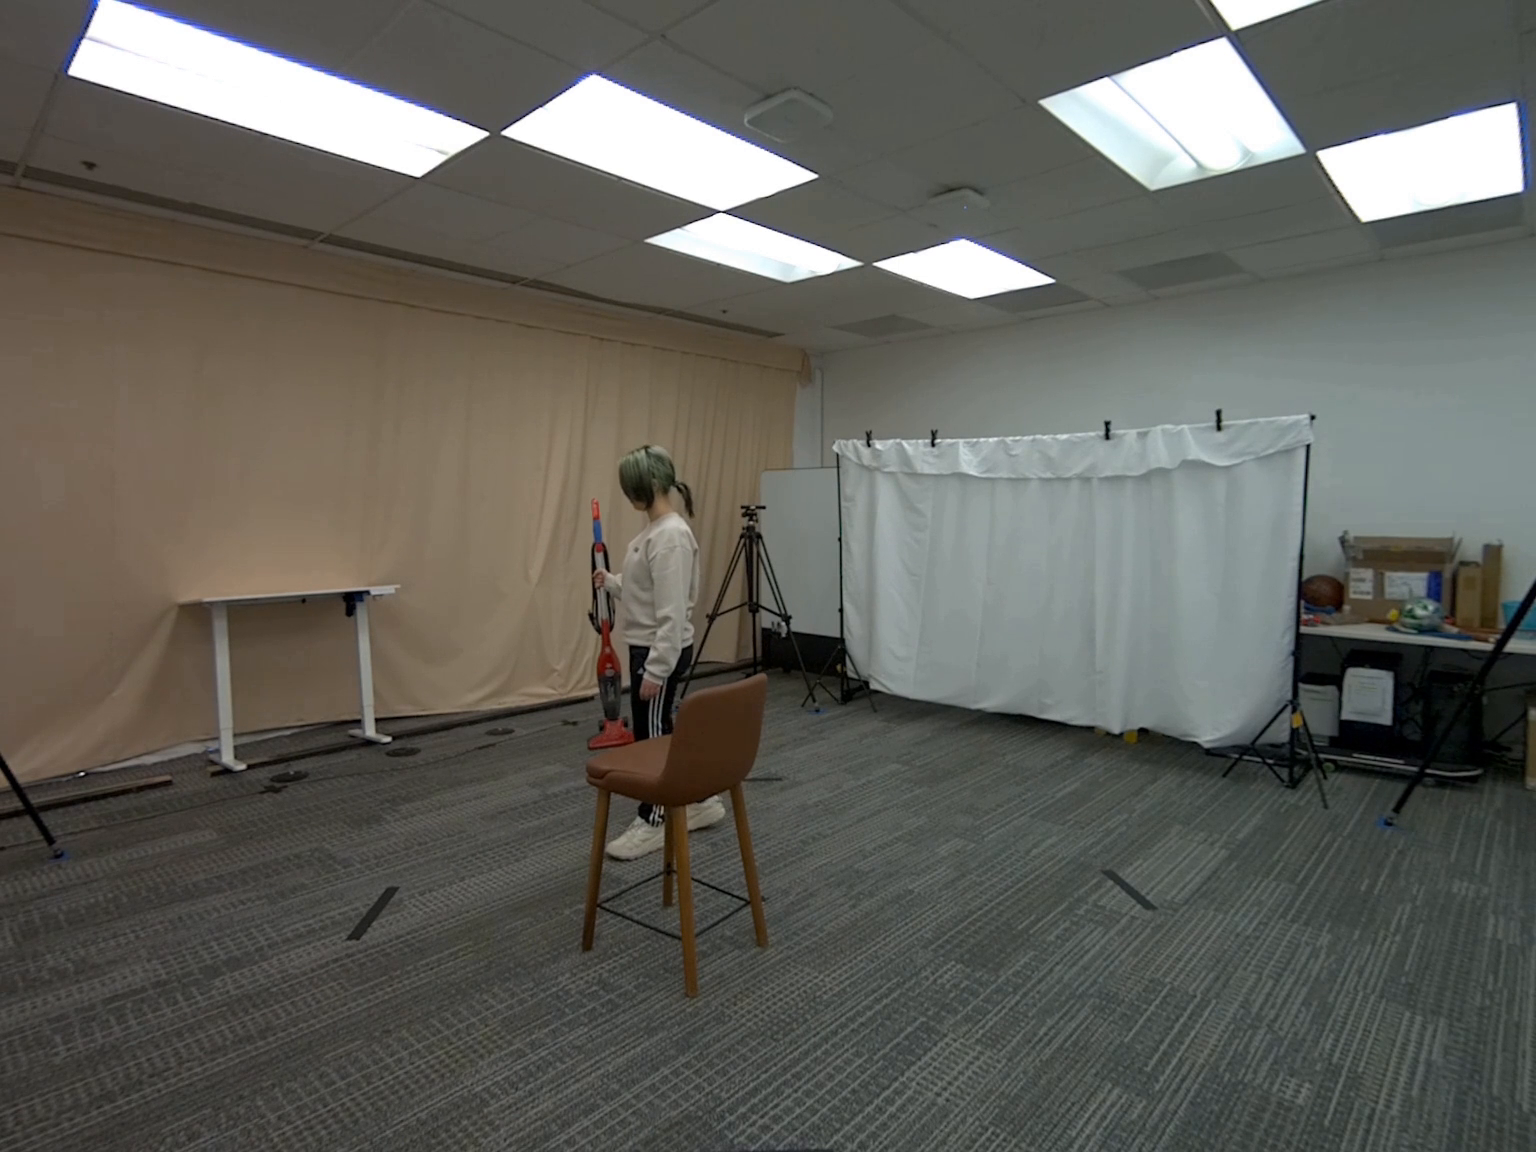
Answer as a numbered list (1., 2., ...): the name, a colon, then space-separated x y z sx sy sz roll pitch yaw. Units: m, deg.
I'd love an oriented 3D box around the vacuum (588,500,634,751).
1. vacuum: -0.741 0.186 3.780 0.249 1.050 0.146 -5 -1 -16
